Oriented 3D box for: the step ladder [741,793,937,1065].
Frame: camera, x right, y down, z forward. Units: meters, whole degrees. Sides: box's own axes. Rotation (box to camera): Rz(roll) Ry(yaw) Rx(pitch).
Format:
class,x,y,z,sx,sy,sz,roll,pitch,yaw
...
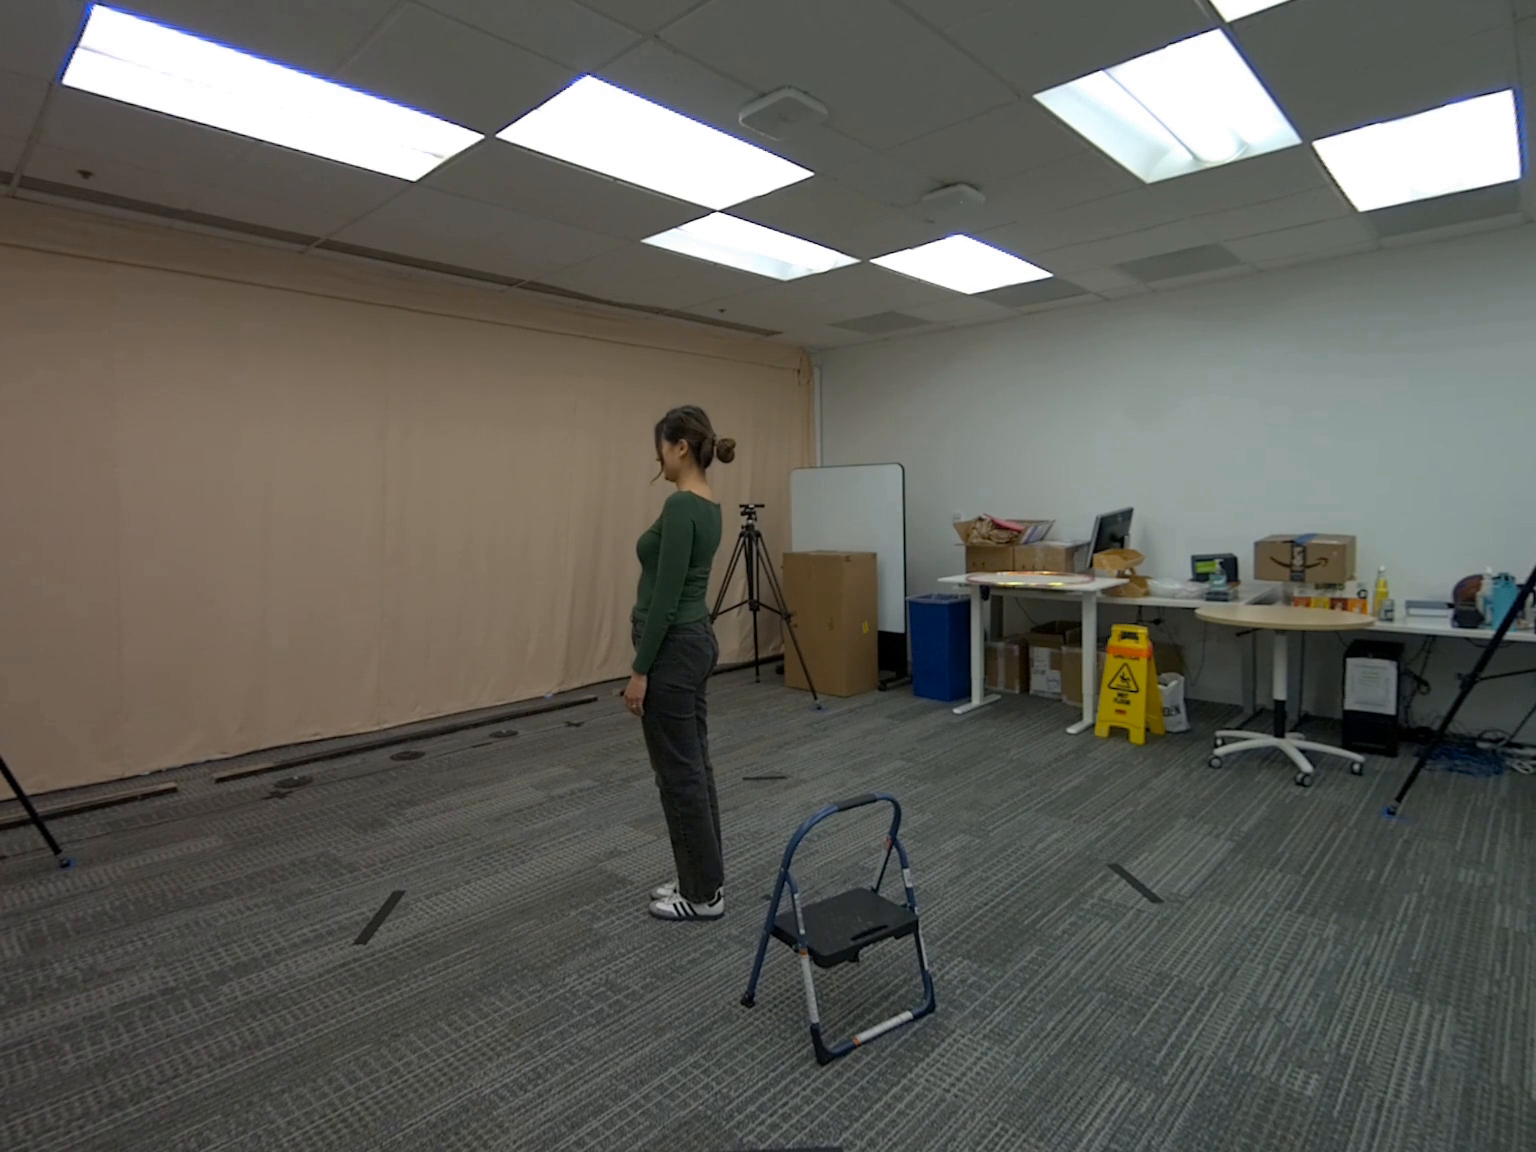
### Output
class,x,y,z,sx,sy,sz,roll,pitch,yaw
step ladder,0.194,0.891,2.317,0.418,0.604,0.360,-4,5,-36
